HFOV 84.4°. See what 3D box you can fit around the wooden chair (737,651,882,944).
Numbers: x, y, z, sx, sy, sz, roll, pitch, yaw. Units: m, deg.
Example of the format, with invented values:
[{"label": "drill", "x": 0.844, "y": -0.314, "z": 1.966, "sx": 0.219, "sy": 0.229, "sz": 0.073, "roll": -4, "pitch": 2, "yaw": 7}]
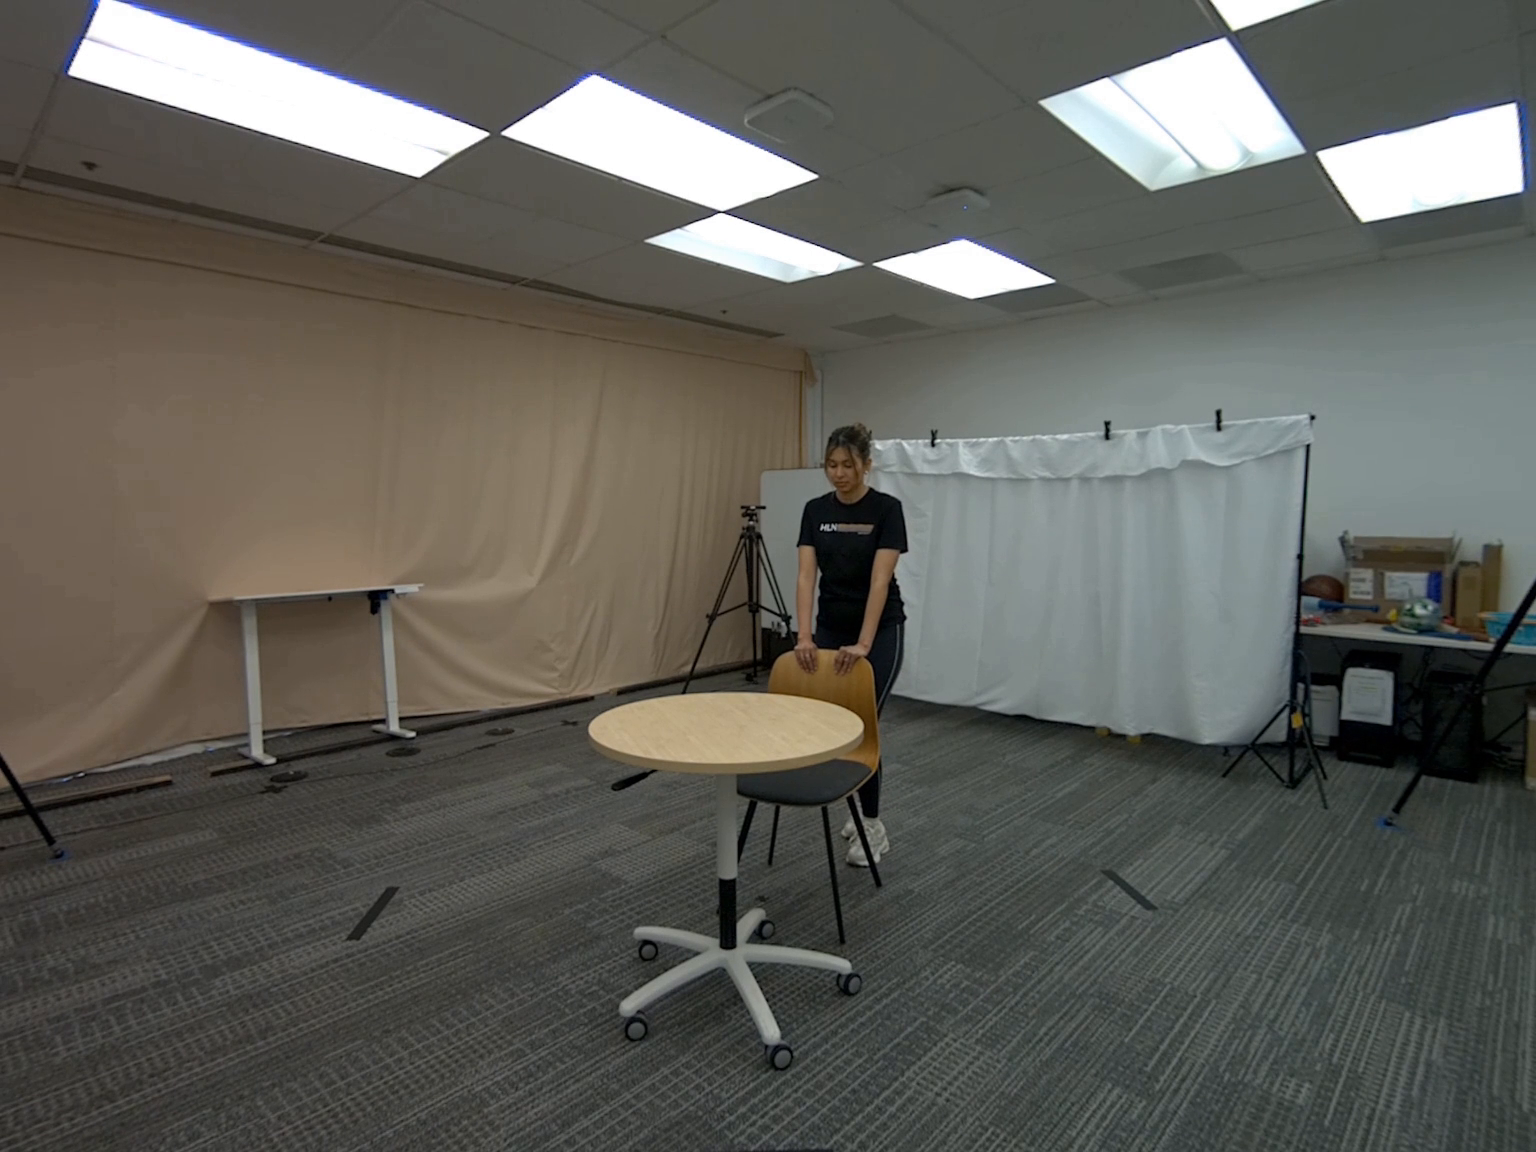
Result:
[{"label": "wooden chair", "x": 0.123, "y": 0.719, "z": 2.933, "sx": 0.490, "sy": 0.877, "sz": 0.509, "roll": 2, "pitch": 0, "yaw": 25}]
